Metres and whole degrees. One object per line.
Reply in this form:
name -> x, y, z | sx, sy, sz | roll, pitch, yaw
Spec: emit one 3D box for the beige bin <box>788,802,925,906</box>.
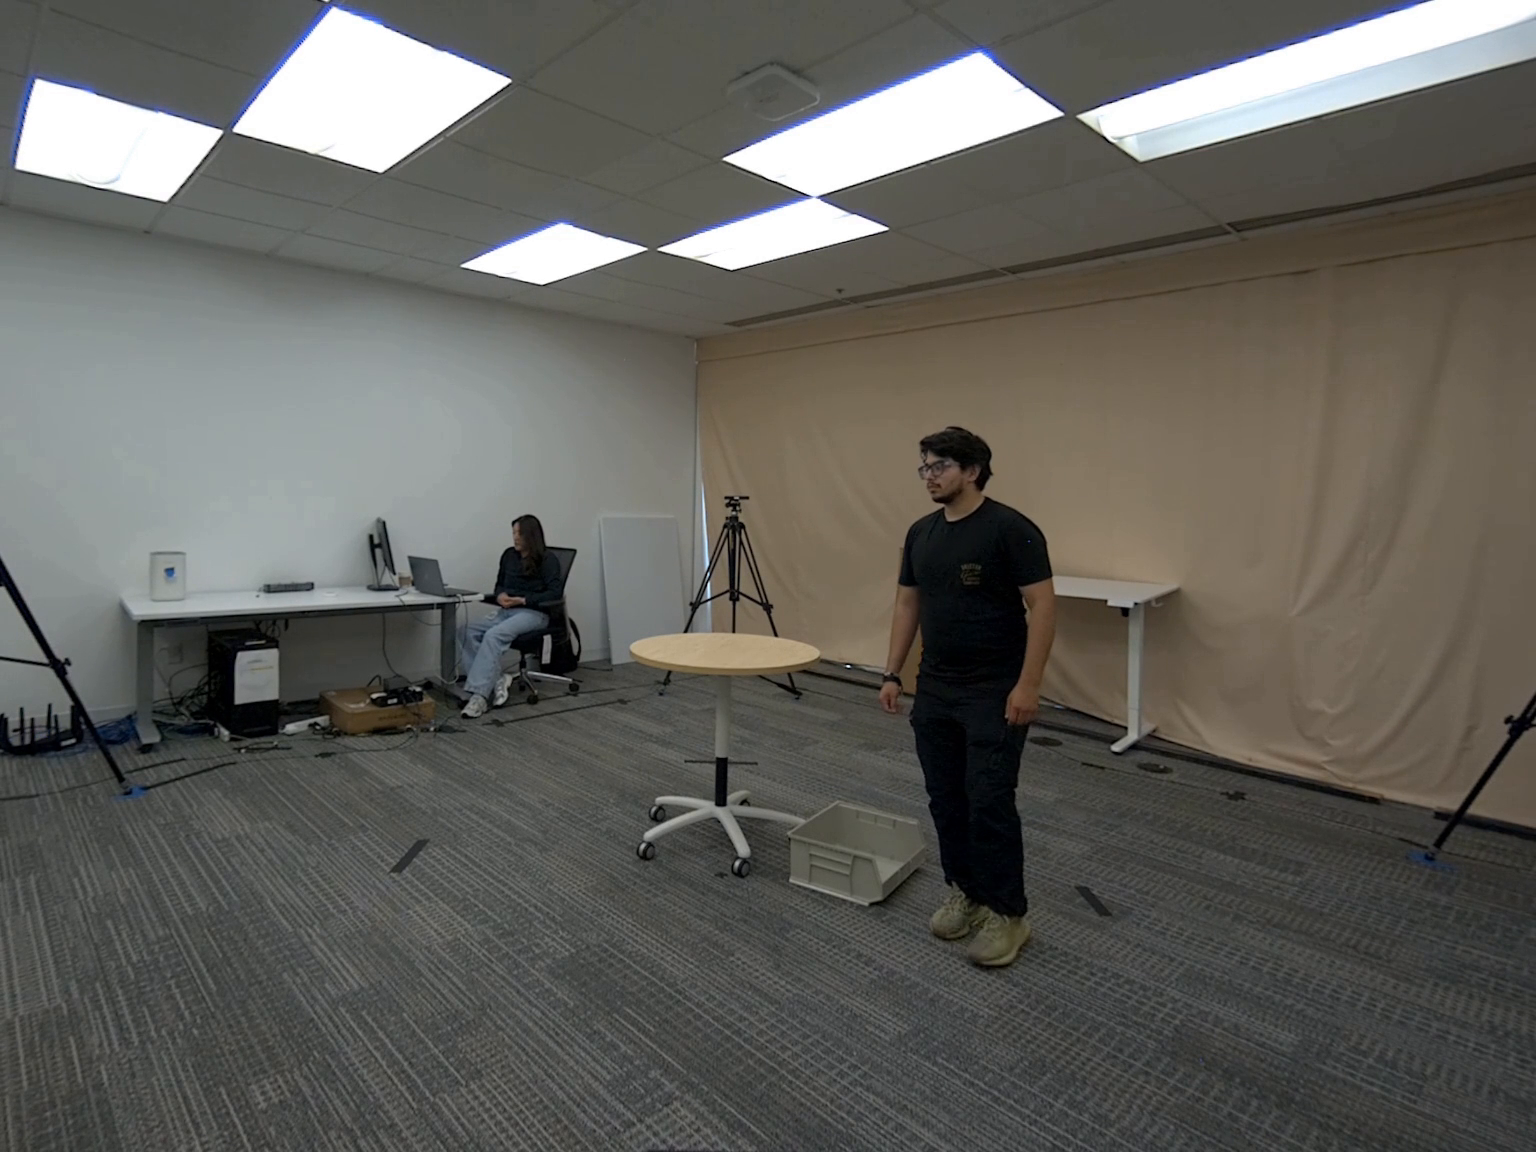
beige bin -> 0.328, 1.024, 3.128 | 0.386, 0.188, 0.414 | 3, 5, 32
